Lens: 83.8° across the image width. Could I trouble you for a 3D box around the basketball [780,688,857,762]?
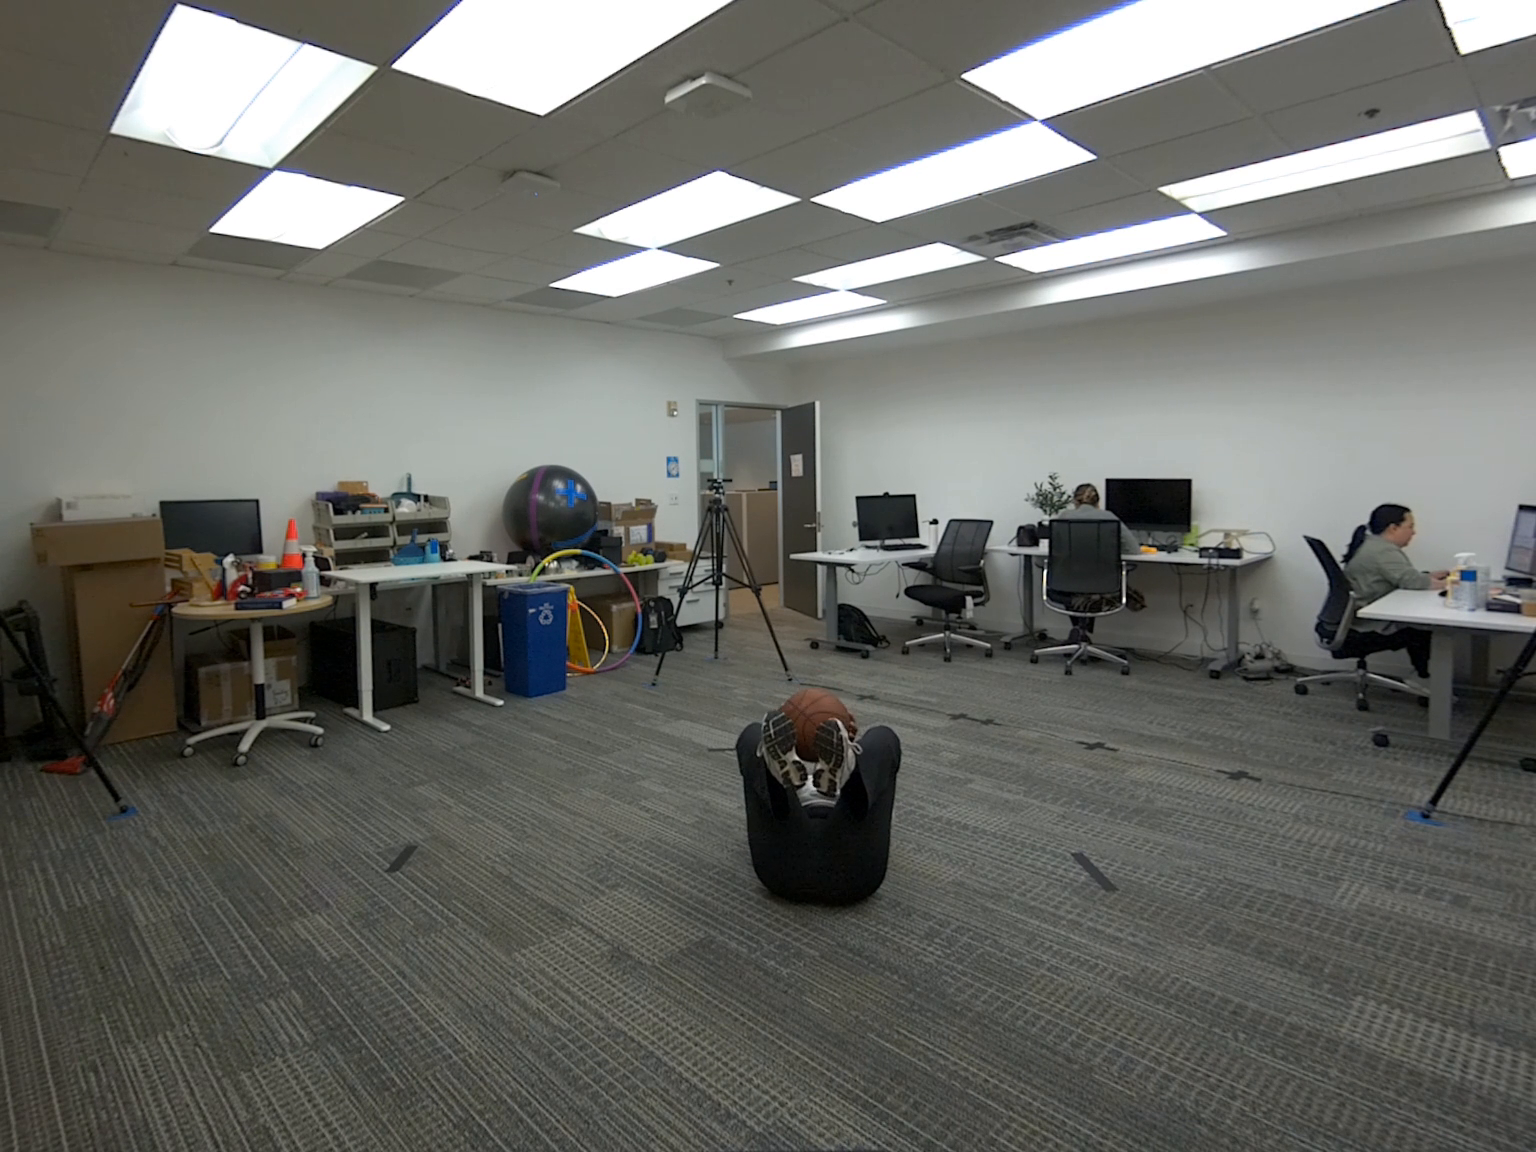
[{"bbox_3d":[0.150,0.489,2.822,0.236,0.235,0.237,-1,4,-2],"label":"basketball"}]
